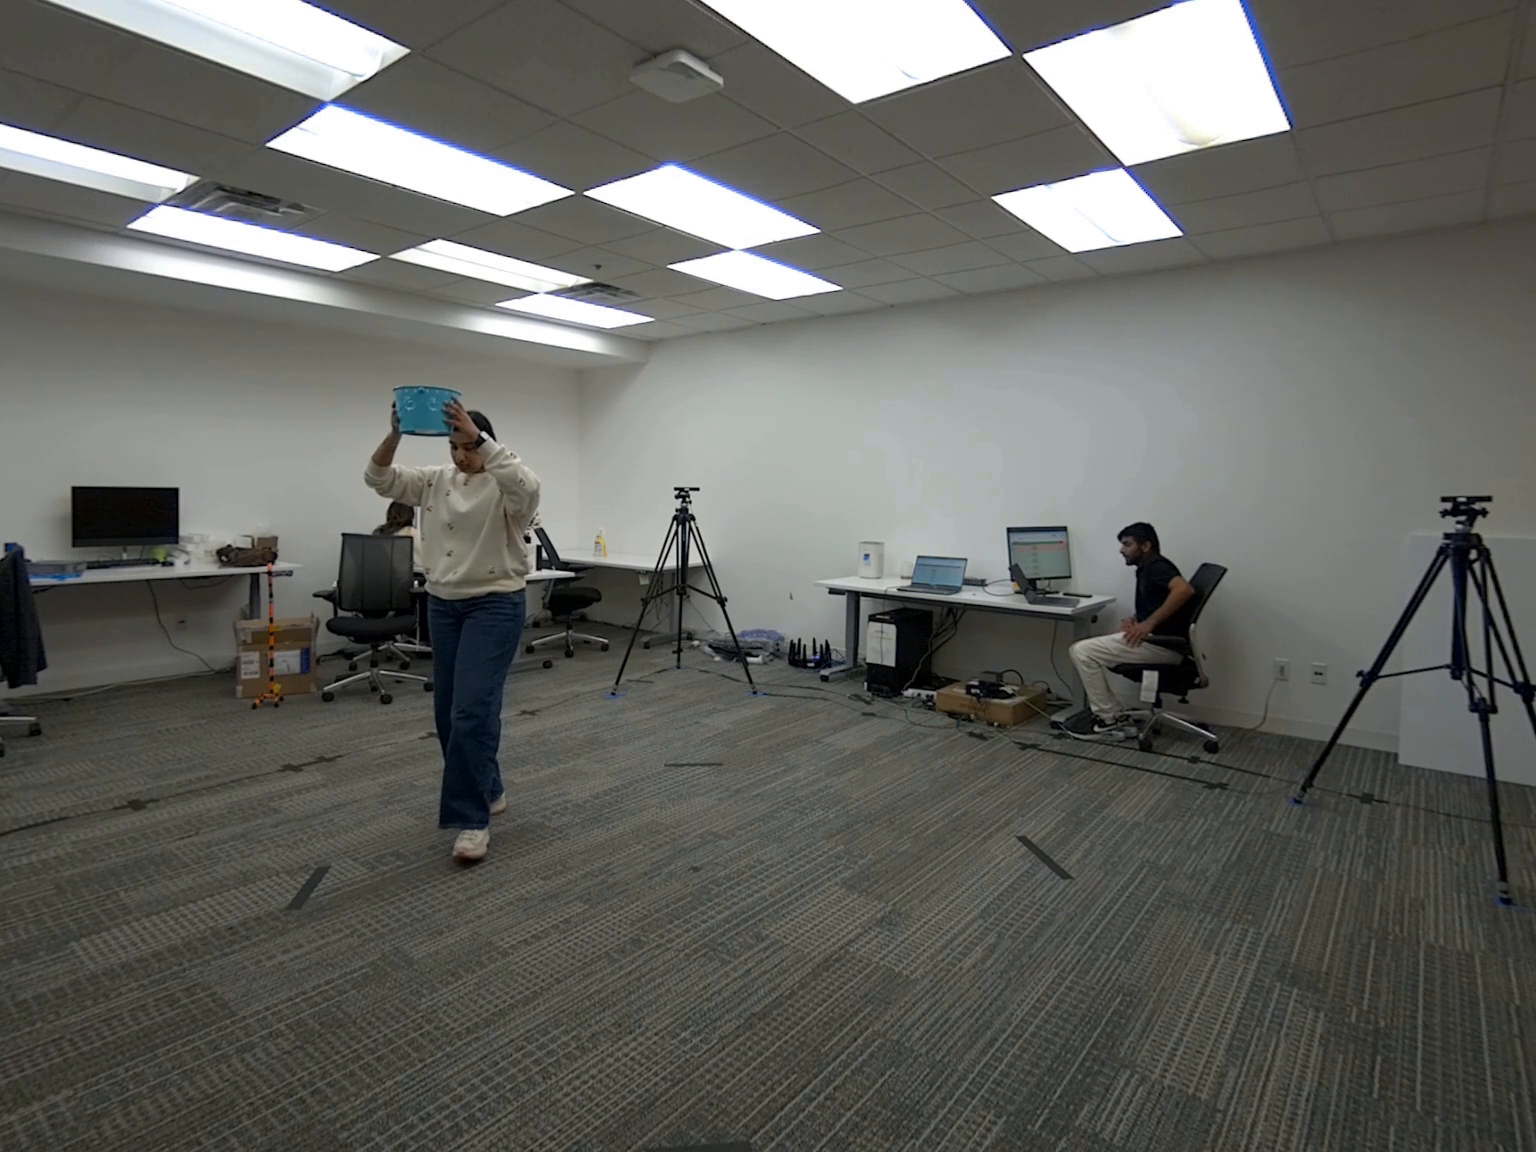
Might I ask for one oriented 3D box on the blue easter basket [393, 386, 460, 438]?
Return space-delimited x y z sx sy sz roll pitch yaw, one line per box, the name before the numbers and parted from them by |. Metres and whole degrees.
blue easter basket | -1.253 -0.599 3.063 0.243 0.155 0.244 2 3 -2
